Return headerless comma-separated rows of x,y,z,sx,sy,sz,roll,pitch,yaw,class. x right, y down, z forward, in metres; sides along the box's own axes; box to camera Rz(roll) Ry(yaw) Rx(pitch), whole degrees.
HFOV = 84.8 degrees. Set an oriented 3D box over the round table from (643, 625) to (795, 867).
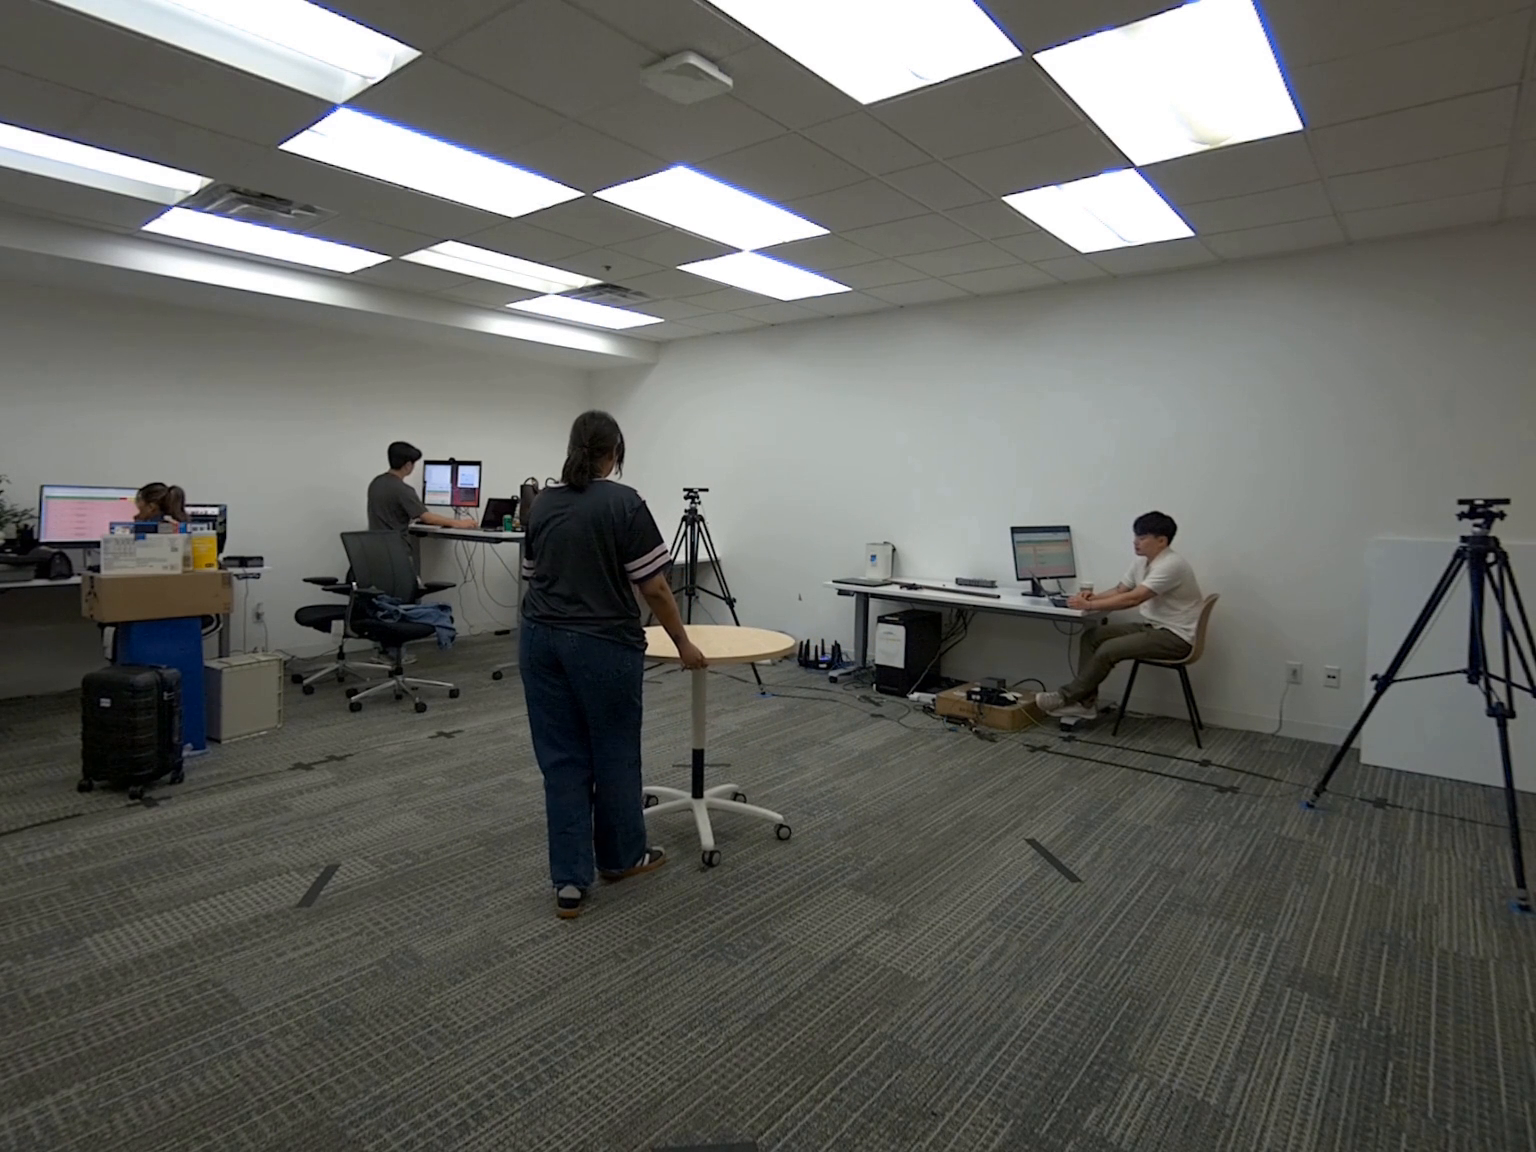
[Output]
-0.283,0.646,3.439,0.763,0.792,0.767,0,4,-2,round table
